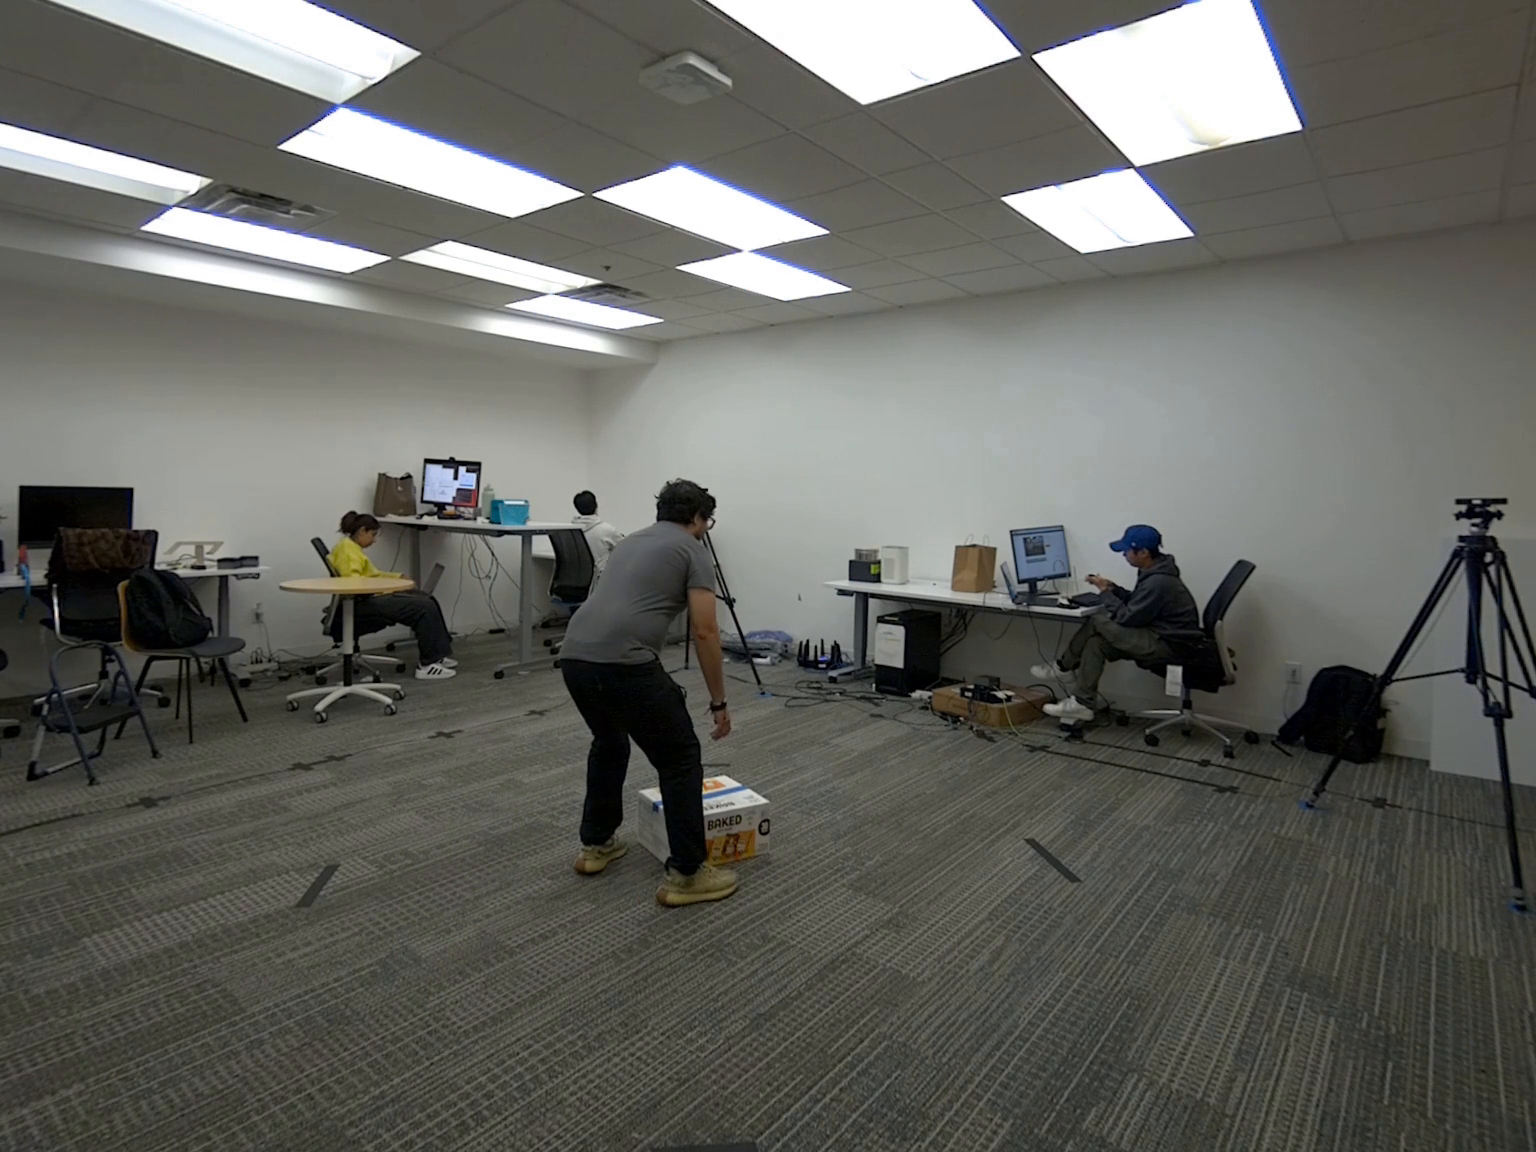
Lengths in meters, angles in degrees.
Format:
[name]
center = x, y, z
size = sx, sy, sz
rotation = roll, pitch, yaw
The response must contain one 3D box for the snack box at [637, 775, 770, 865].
[snack box]
center = -0.262, 0.951, 3.296
size = 0.394, 0.205, 0.351
rotation = -2, 6, -32
